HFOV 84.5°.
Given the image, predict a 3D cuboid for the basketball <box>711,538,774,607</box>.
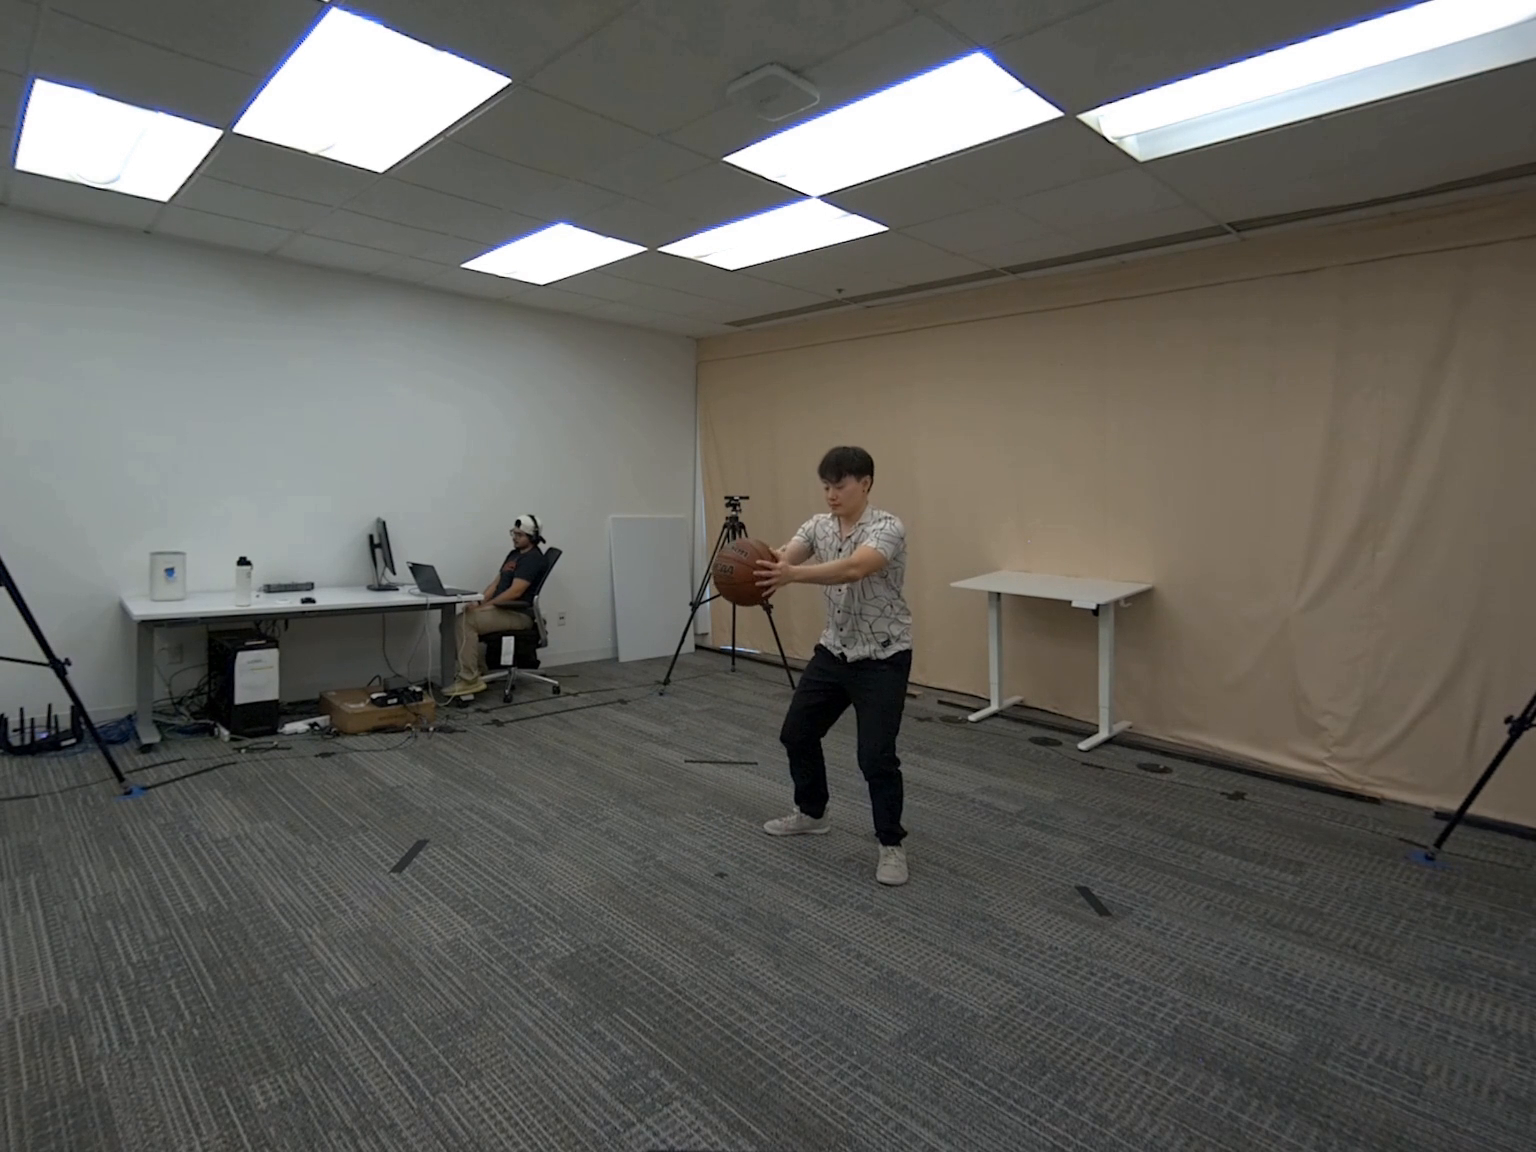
[{"bbox_3d":[-0.082,-0.006,2.926,0.236,0.235,0.237,1,4,-1],"label":"basketball"}]
